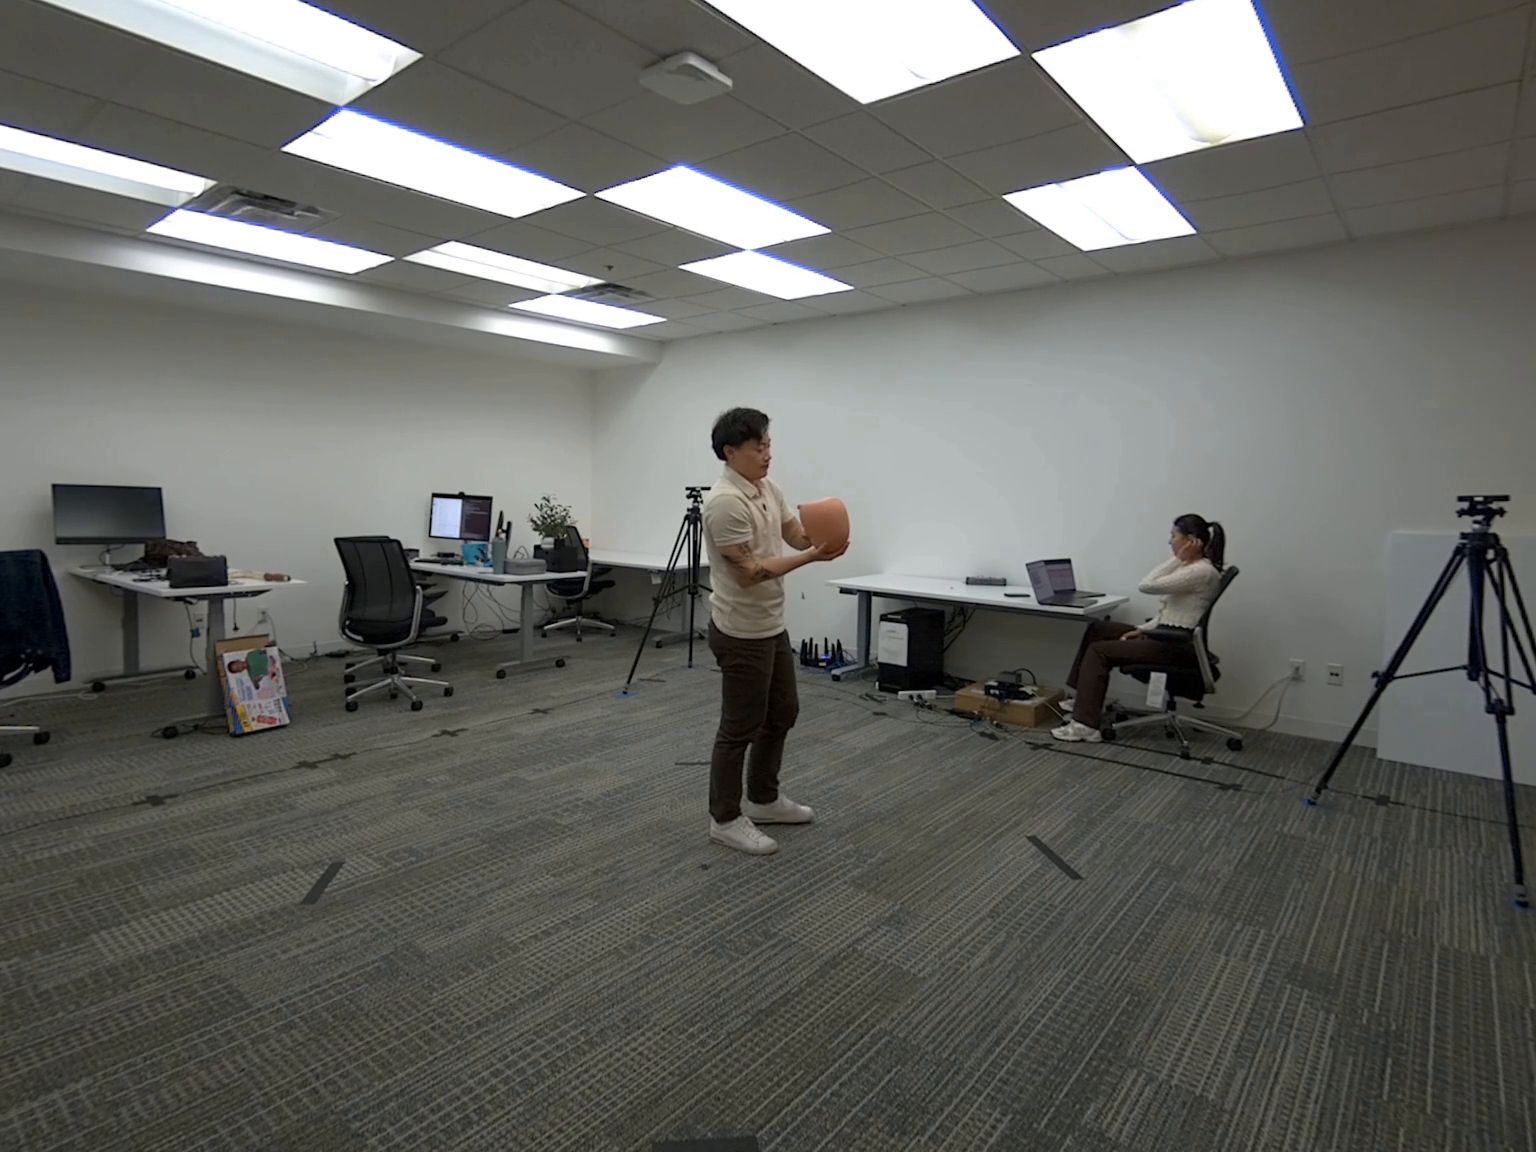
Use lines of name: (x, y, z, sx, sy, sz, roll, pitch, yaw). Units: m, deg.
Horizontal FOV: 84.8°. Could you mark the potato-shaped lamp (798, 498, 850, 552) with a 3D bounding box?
potato-shaped lamp: (0.200, -0.184, 3.057, 0.176, 0.198, 0.161, -7, 3, 36)
